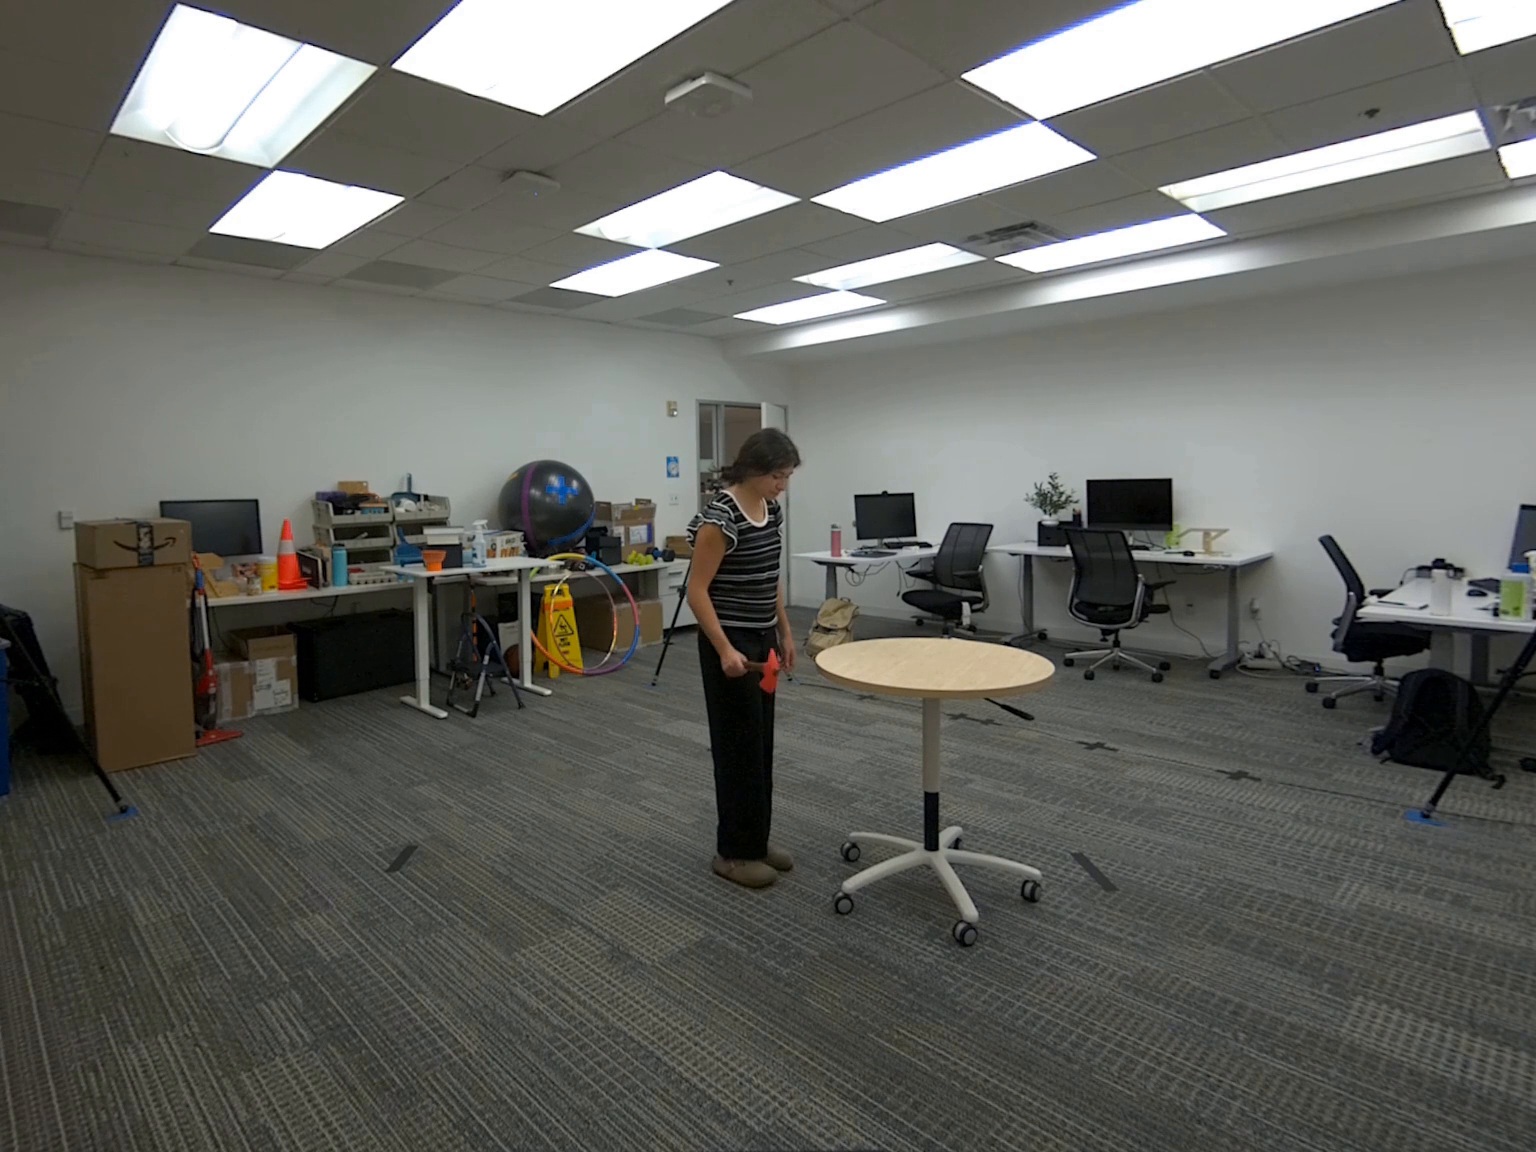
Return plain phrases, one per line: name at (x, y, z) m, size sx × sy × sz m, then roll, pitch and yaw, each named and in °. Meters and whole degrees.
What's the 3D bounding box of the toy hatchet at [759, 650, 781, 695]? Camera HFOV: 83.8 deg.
toy hatchet at (-0.050, 0.323, 2.740) m, size 0.029 × 0.133 × 0.273 m, roll 3°, pitch -18°, yaw -31°
